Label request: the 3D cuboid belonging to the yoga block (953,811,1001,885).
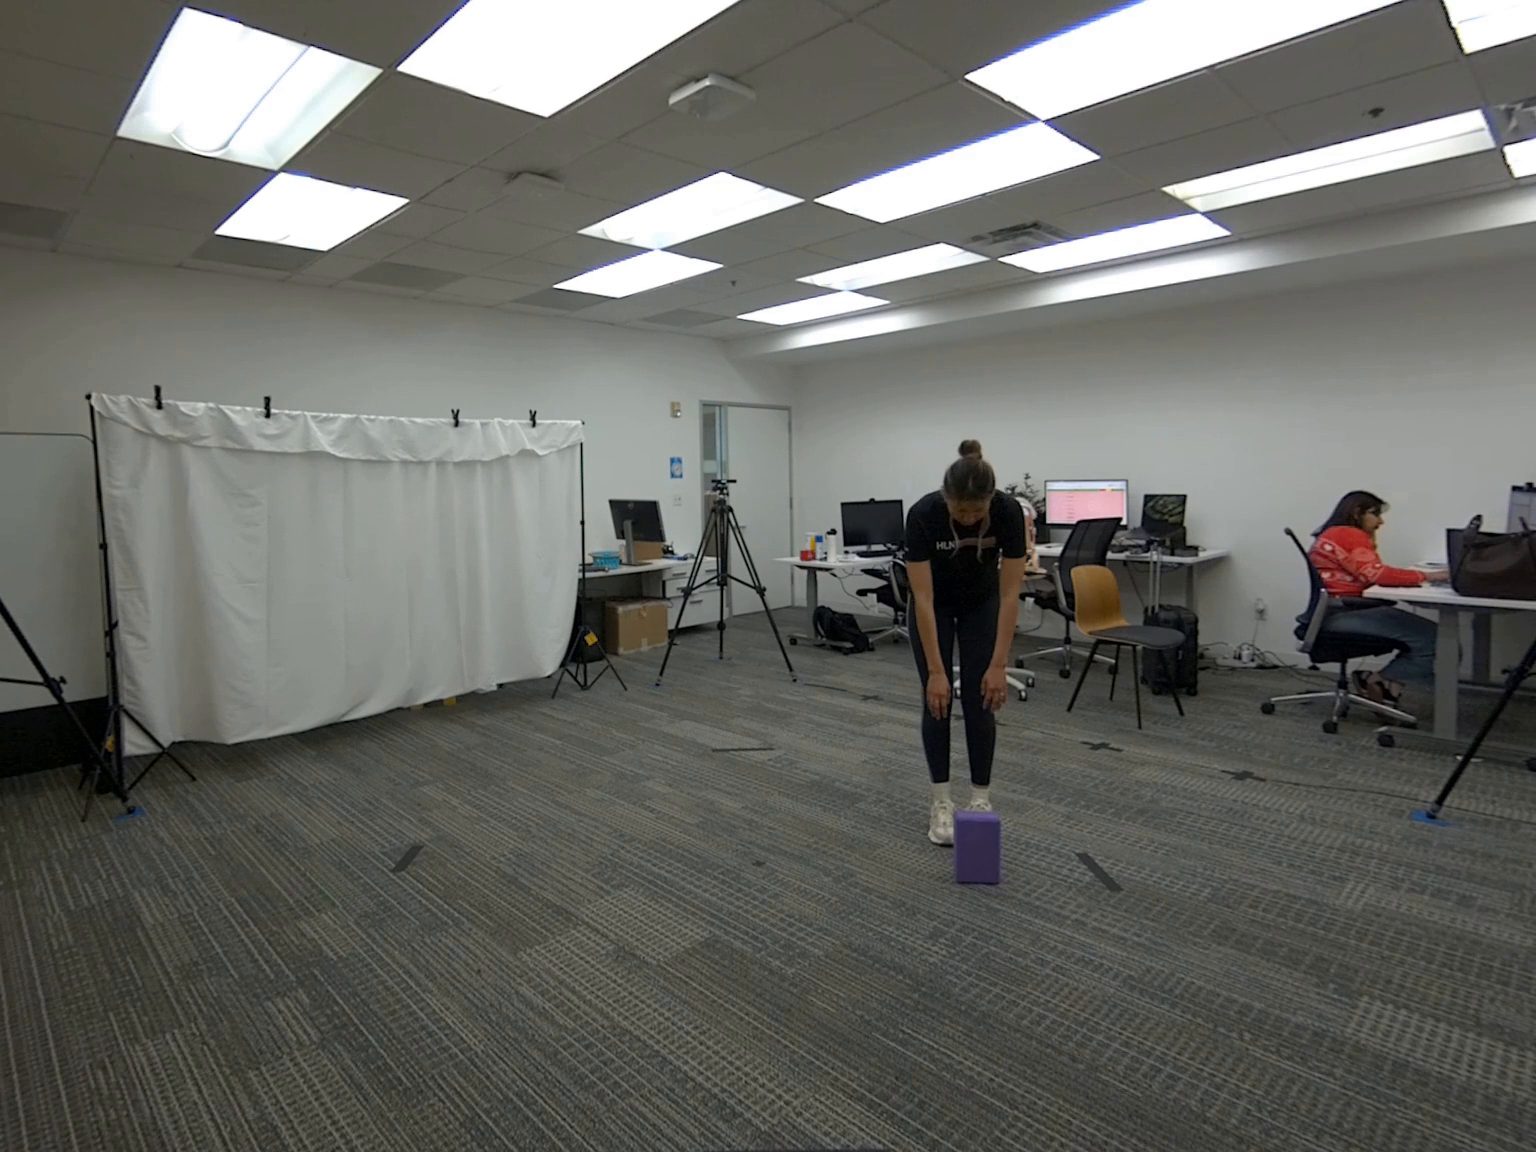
[{"bbox_3d":[0.724,0.937,2.944,0.150,0.228,0.076,-1,4,6],"label":"yoga block"}]
